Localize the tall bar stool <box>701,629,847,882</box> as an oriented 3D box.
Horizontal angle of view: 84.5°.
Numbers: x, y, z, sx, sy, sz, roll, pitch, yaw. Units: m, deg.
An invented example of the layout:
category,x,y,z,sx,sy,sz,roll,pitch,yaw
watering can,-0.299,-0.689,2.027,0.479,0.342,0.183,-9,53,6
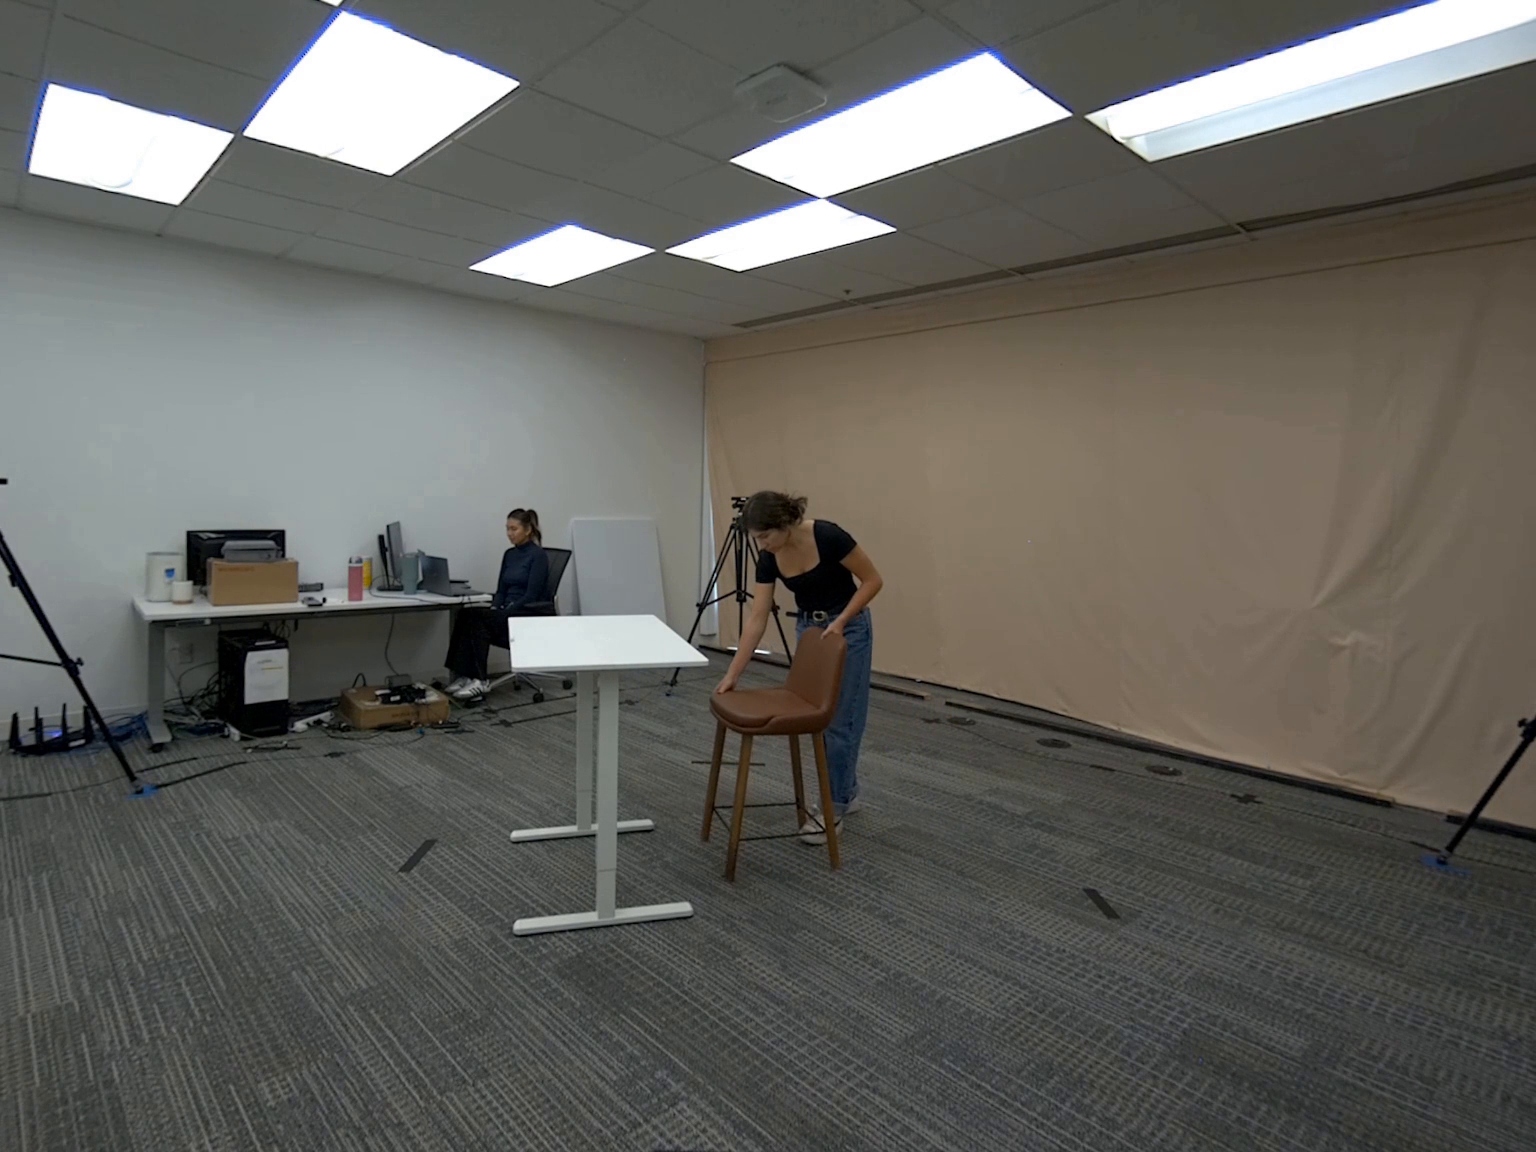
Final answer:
category,x,y,z,sx,sy,sz,roll,pitch,yaw
tall bar stool,0.012,0.658,3.270,0.461,0.888,0.463,3,3,-16
